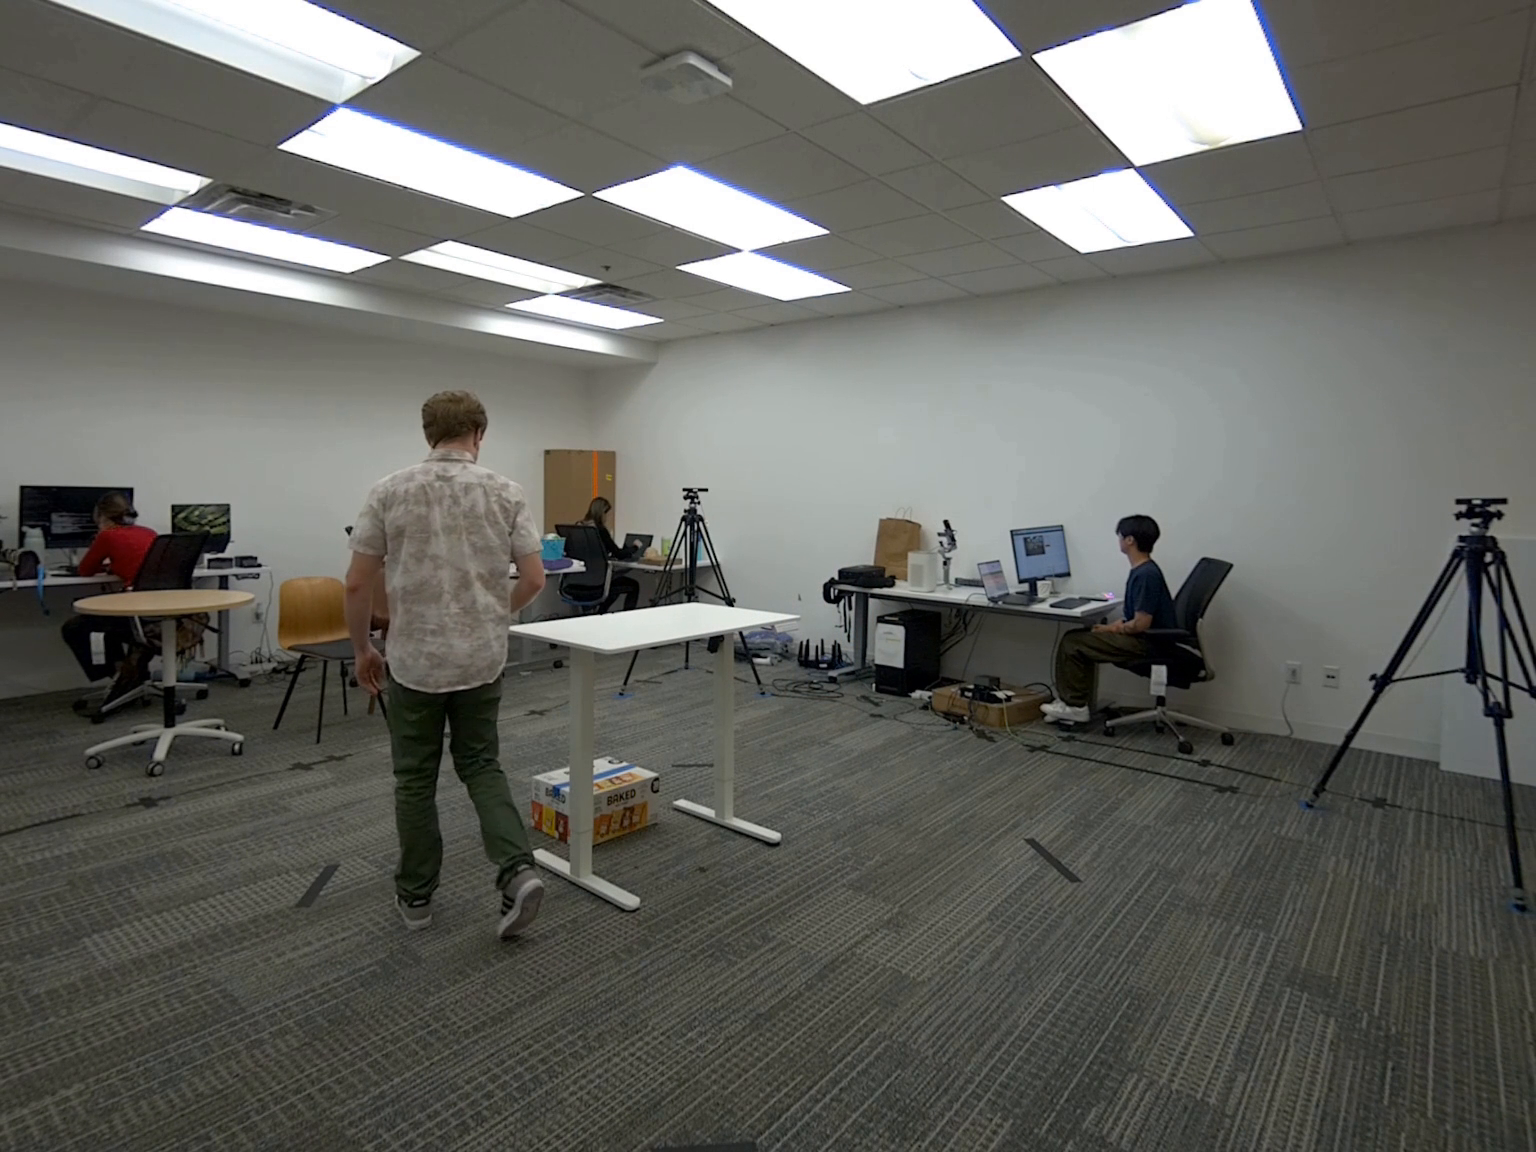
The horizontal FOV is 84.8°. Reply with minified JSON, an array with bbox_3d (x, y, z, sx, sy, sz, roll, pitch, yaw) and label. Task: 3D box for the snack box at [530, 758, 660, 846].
[{"bbox_3d":[-0.722,0.922,3.505,0.352,0.205,0.393,5,7,42],"label":"snack box"}]
